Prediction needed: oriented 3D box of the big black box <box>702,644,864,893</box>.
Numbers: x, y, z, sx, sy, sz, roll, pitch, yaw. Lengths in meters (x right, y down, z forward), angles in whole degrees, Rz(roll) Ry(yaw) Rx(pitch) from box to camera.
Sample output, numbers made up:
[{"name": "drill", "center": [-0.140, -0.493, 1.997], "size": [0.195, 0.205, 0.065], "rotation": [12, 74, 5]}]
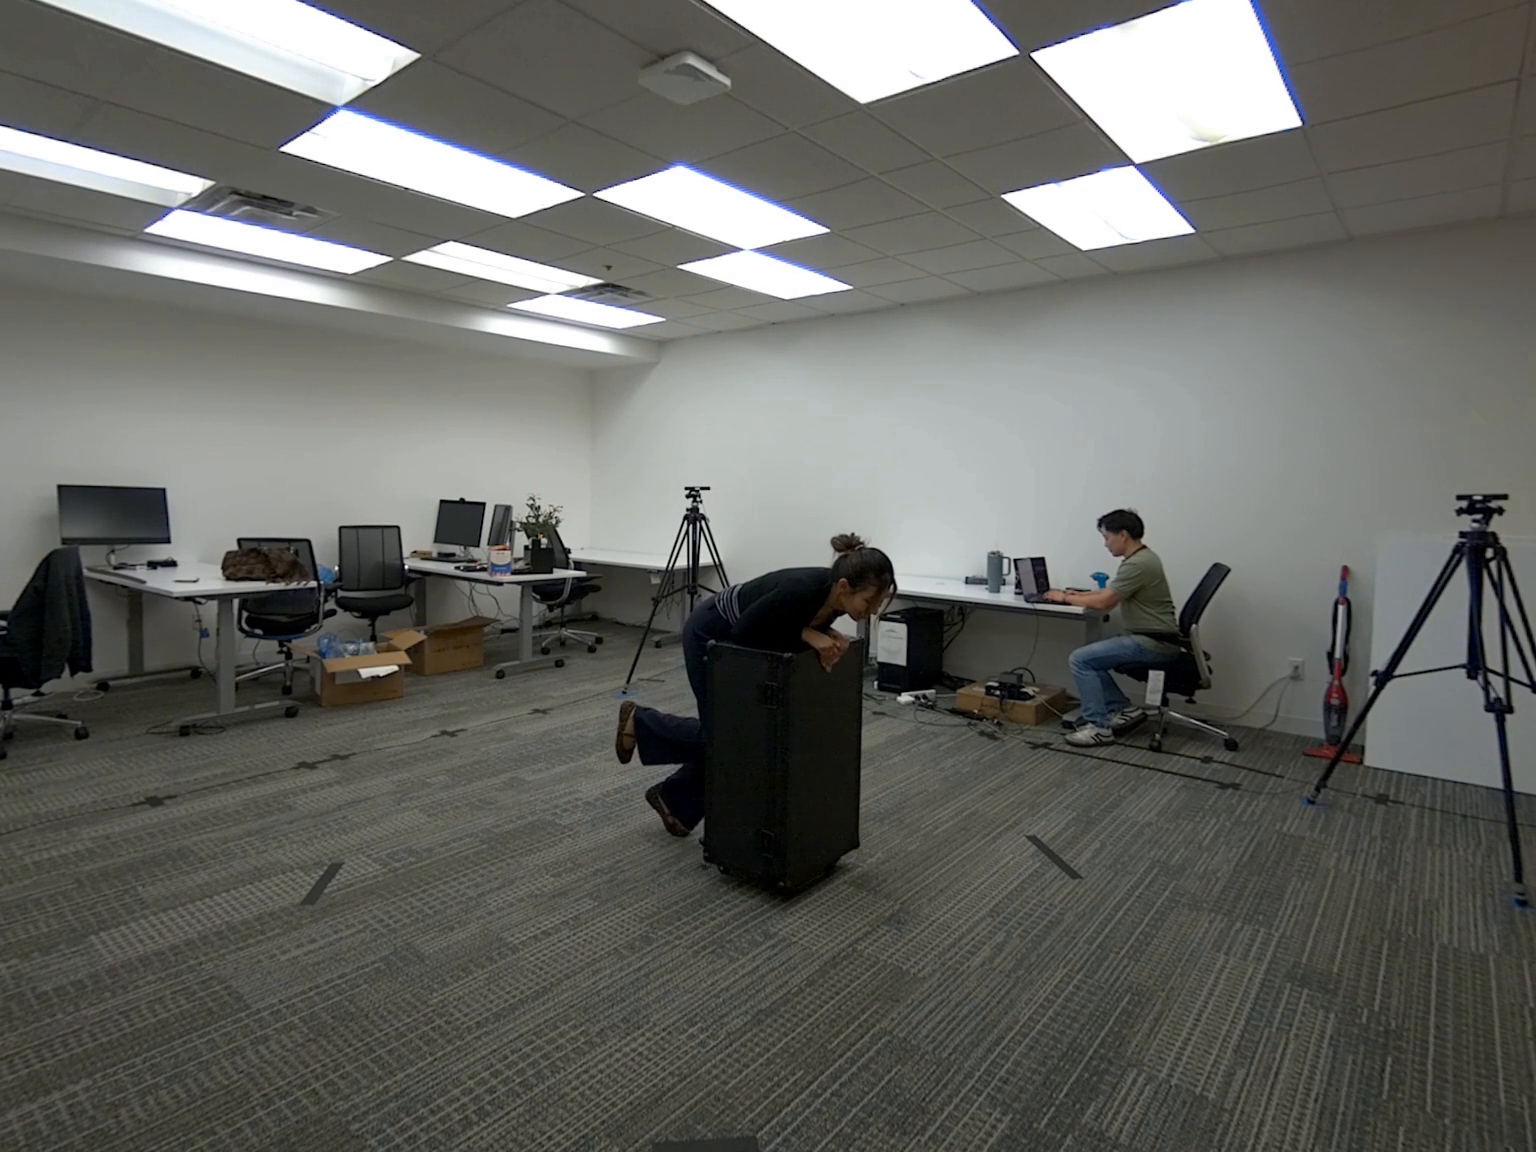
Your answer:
[{"name": "big black box", "center": [0.040, 0.648, 3.063], "size": [0.409, 0.859, 0.506], "rotation": [3, 5, 37]}]
